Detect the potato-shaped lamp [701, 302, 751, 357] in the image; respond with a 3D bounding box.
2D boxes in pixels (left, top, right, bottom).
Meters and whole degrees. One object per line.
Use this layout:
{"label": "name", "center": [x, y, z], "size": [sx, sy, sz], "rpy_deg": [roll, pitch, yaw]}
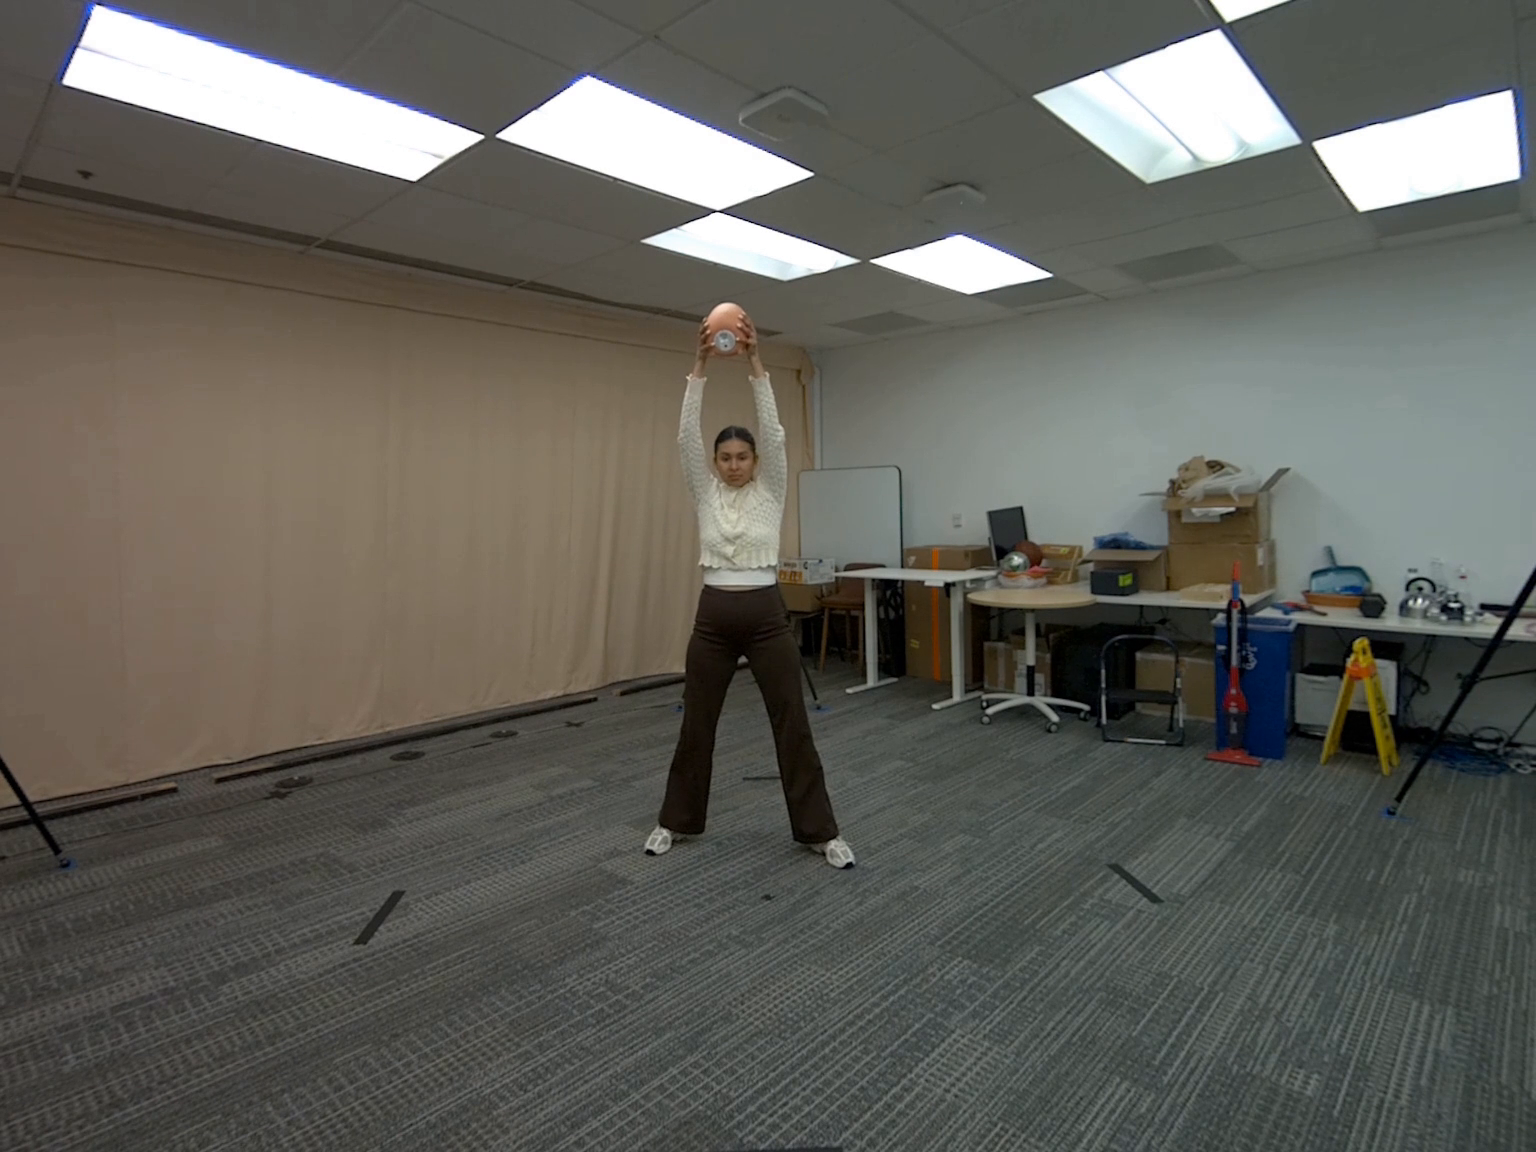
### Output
{"label": "potato-shaped lamp", "center": [-0.148, -0.913, 3.109], "size": [0.166, 0.167, 0.201], "rpy_deg": [-5, 37, 6]}
